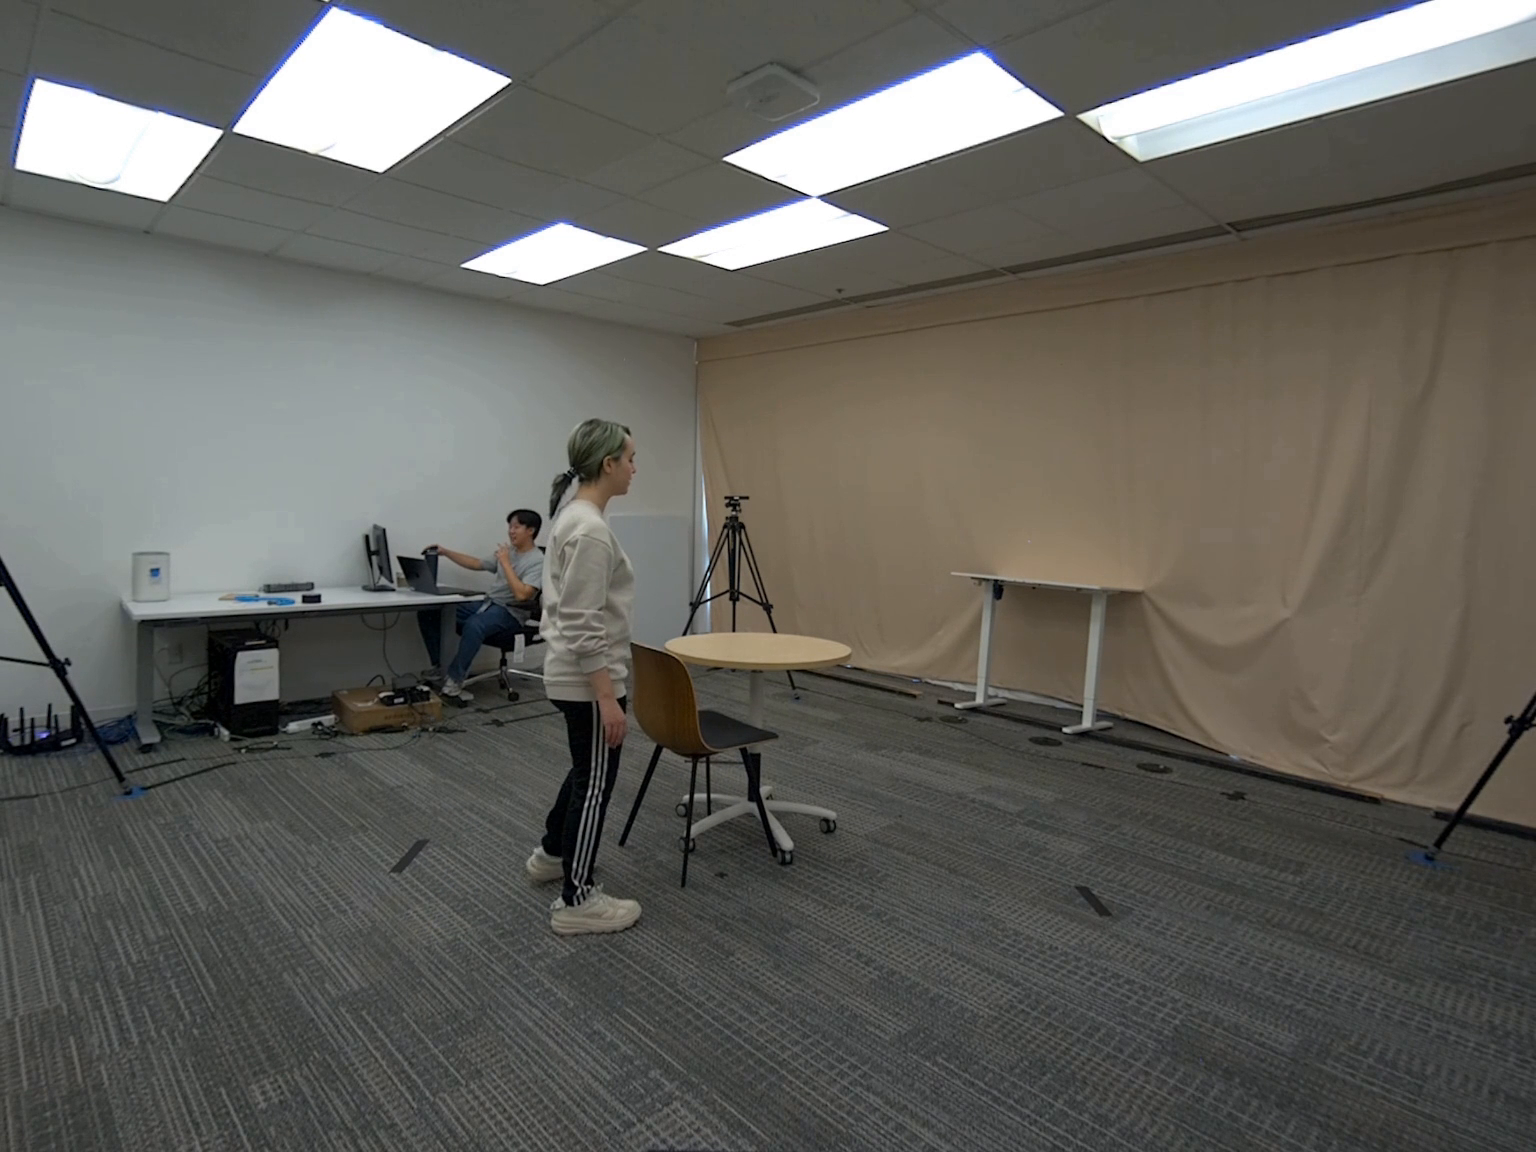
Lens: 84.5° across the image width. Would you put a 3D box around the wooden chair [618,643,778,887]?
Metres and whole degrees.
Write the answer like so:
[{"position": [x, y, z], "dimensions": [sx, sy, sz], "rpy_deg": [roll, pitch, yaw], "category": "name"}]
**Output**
[{"position": [-0.262, 0.656, 3.280], "dimensions": [0.512, 0.873, 0.490], "rpy_deg": [-6, 7, -38], "category": "wooden chair"}]
